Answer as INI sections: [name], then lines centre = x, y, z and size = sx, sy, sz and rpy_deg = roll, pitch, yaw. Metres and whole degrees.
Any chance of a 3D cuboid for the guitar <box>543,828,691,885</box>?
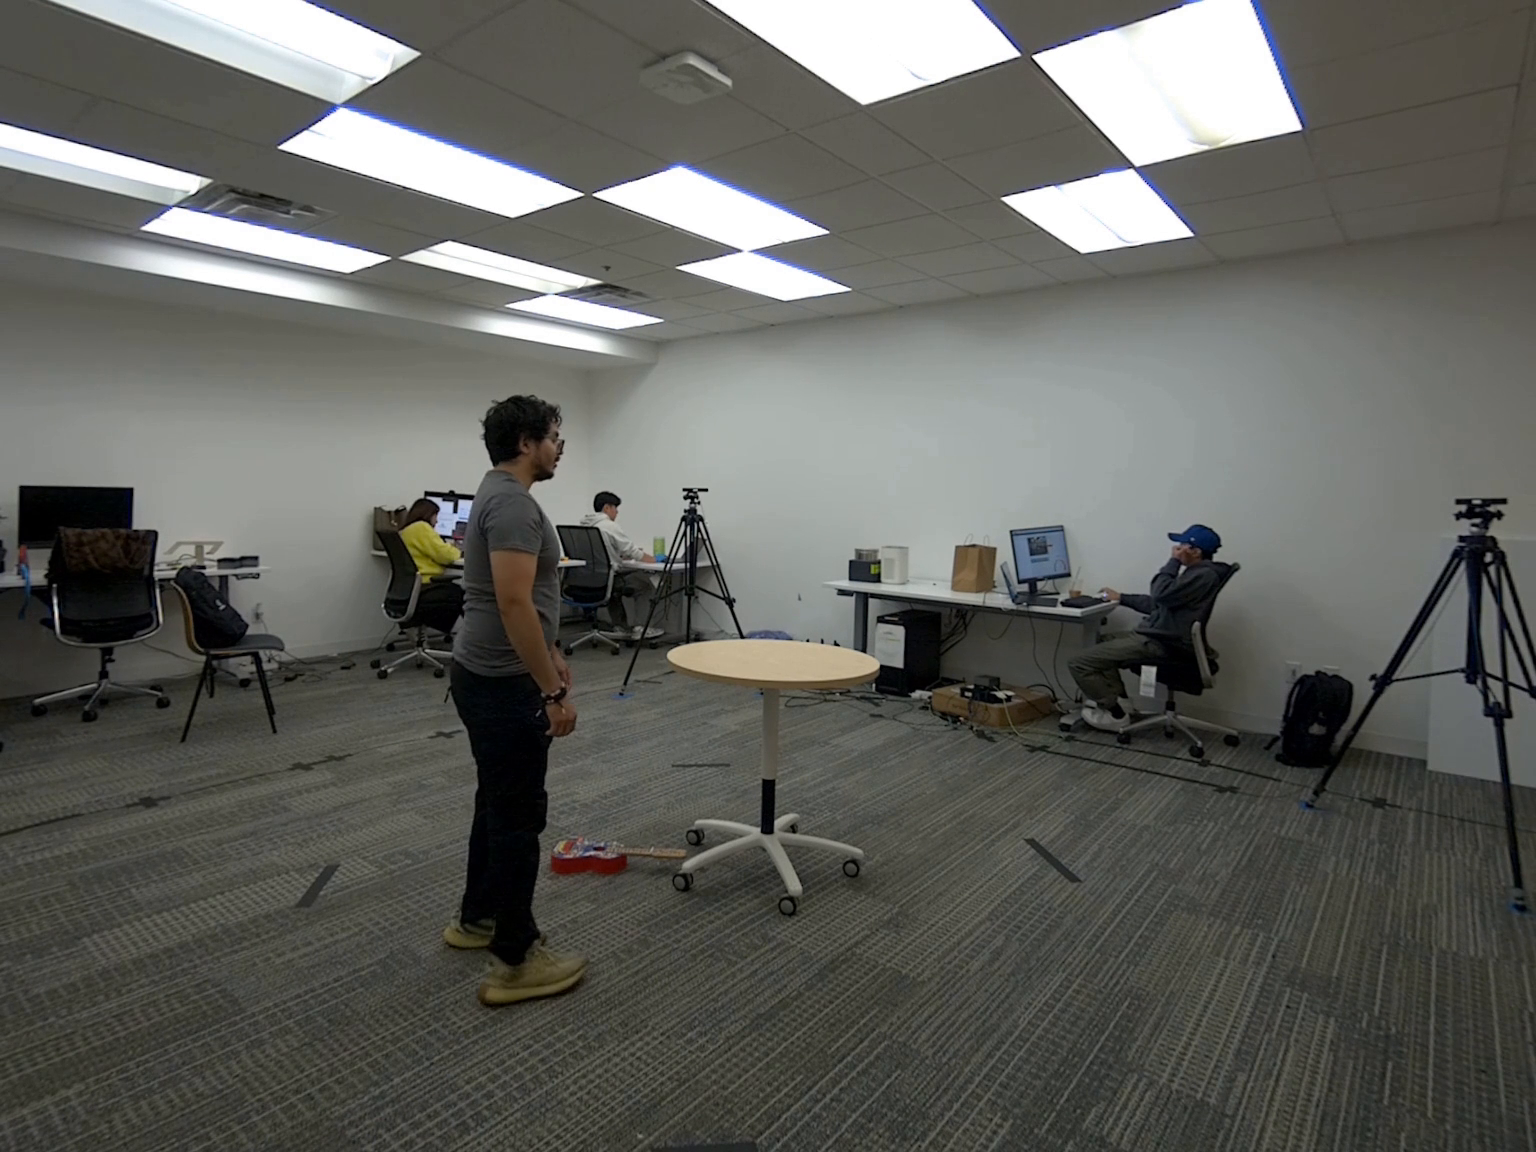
[guitar]
centre = -0.555, 1.025, 3.095
size = 0.506, 0.070, 0.190
rpy_deg = 2, 5, 14
